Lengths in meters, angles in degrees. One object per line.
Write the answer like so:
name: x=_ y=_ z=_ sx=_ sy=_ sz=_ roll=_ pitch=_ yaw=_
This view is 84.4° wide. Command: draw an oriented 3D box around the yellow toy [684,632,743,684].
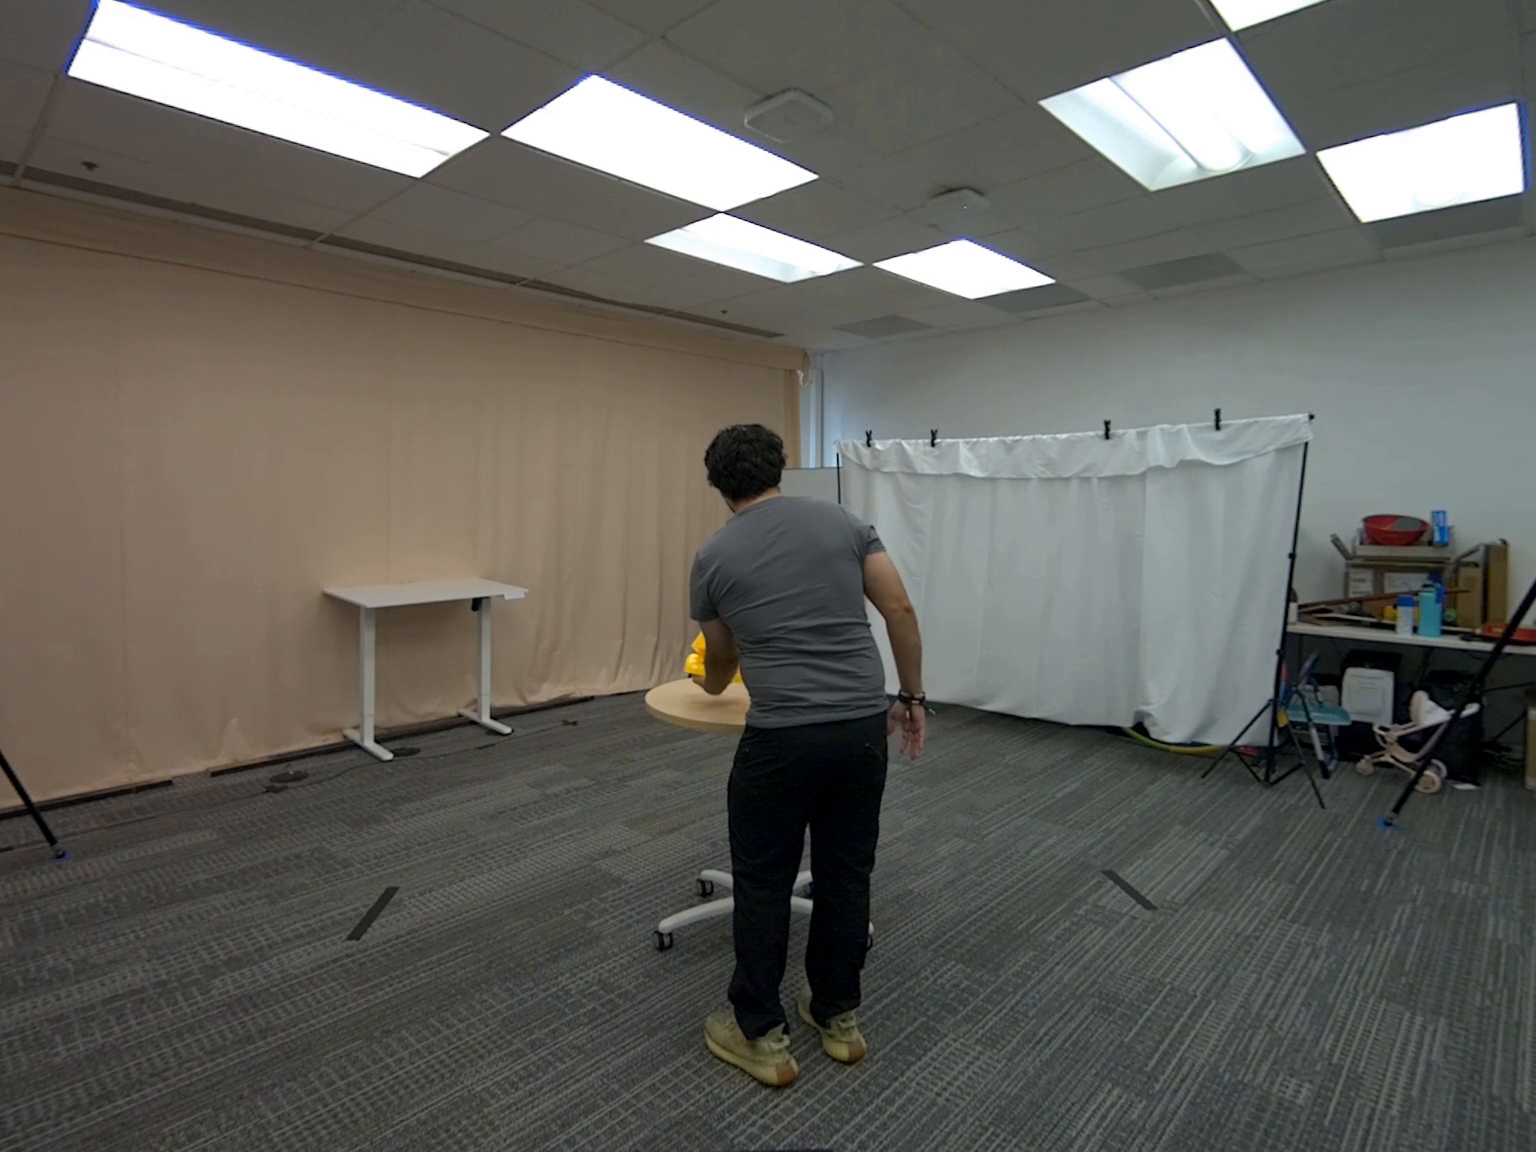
yellow toy: x=-0.134 y=0.199 z=2.594 sx=0.203 sy=0.231 sz=0.194 roll=12 pitch=-6 yaw=-8
